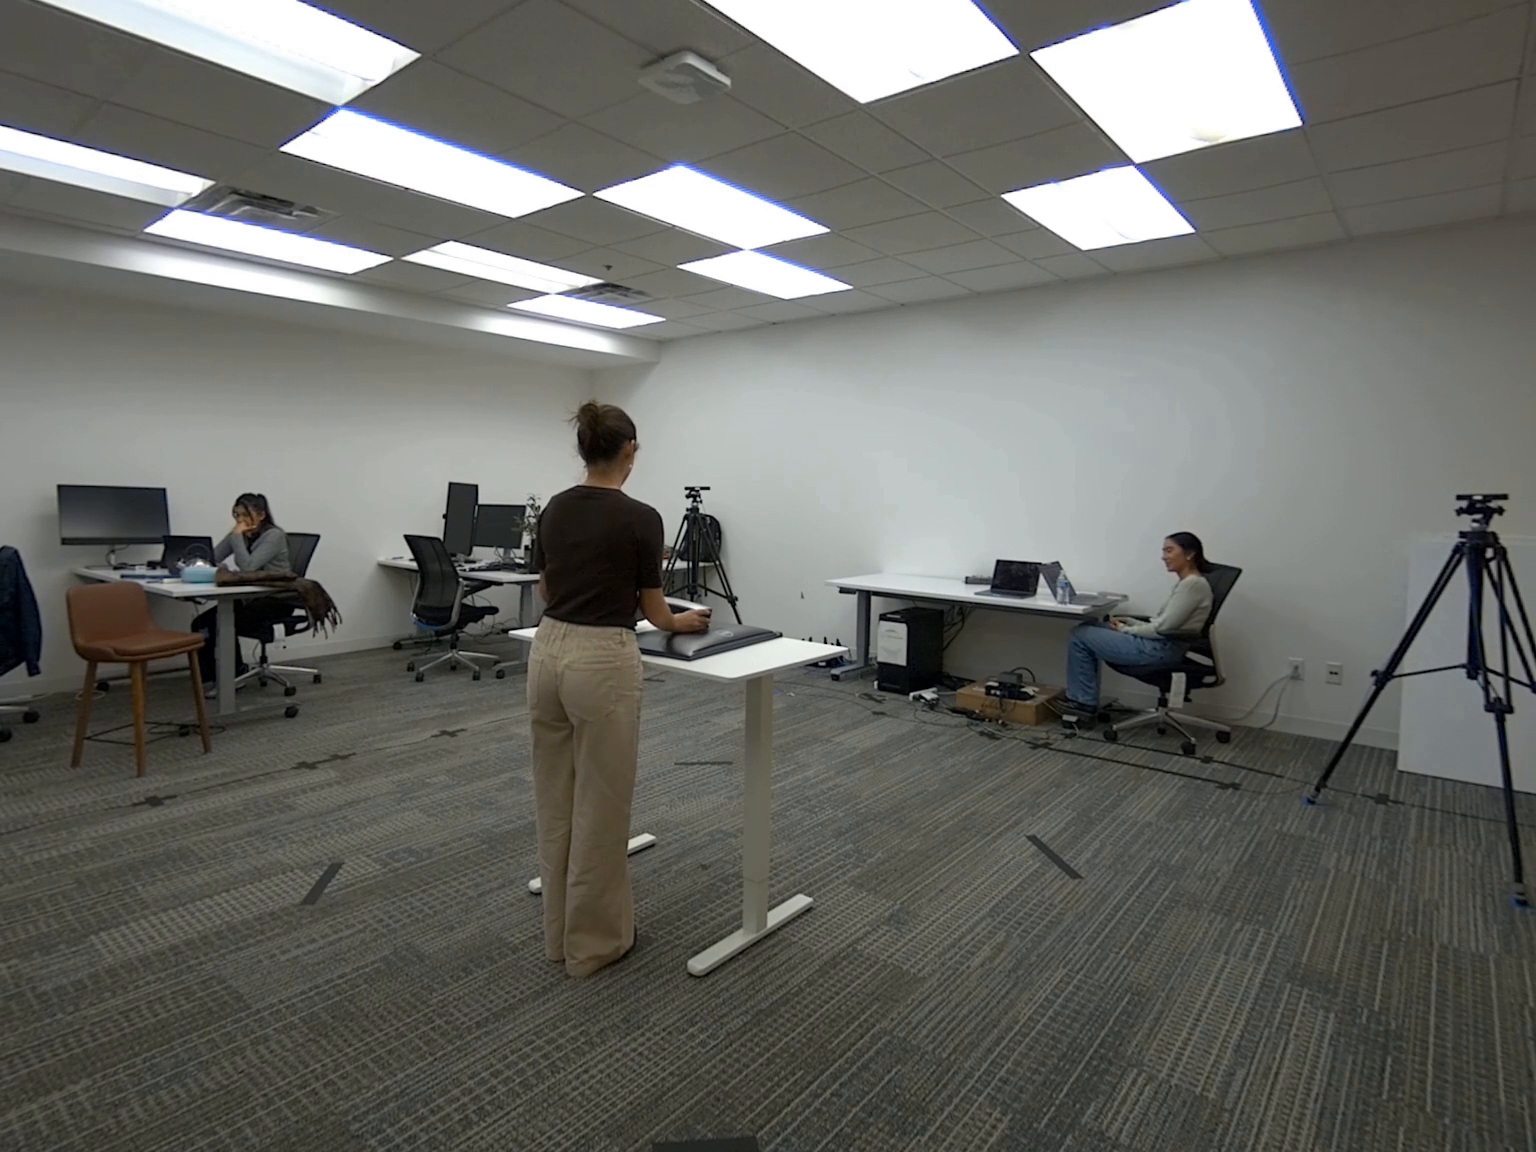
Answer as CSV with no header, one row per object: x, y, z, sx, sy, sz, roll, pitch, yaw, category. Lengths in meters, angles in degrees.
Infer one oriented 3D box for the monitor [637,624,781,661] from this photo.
-0.307,0.157,2.852,0.541,0.185,0.525,17,17,33,monitor
